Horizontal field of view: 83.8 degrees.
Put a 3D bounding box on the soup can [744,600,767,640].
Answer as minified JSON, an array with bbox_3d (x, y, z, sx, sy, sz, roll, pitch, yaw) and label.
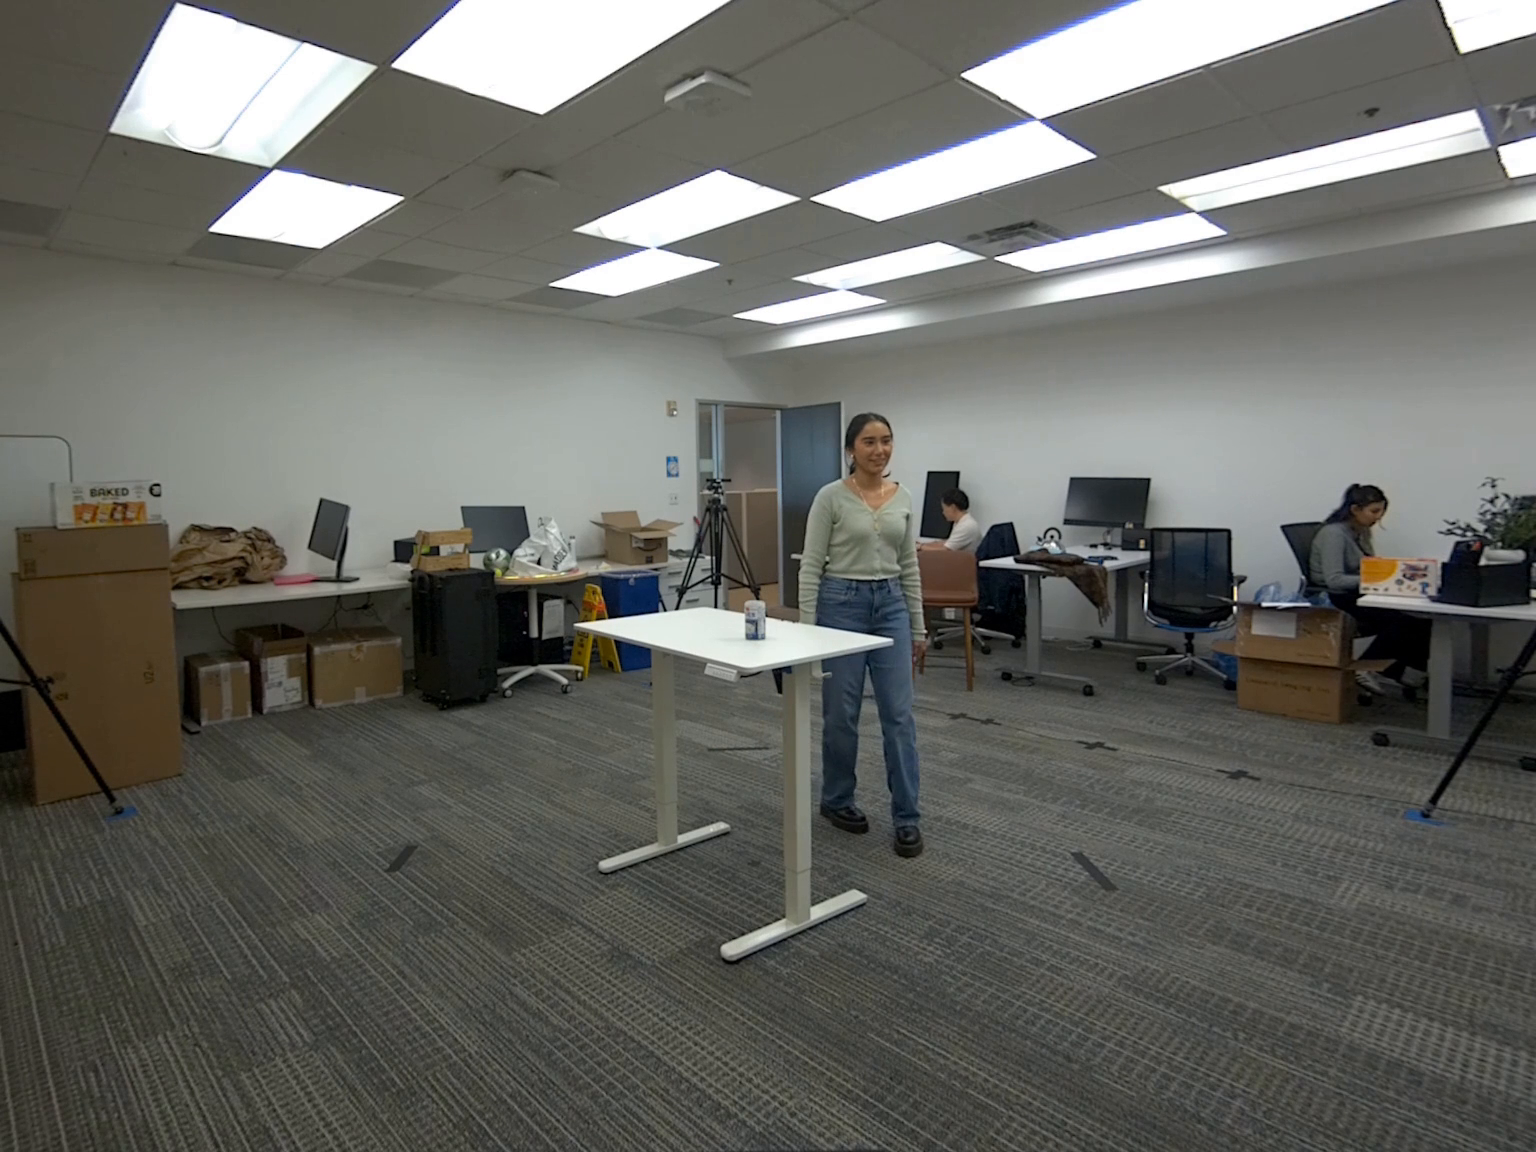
[{"bbox_3d":[-0.032,0.146,2.728,0.067,0.121,0.067,0,7,-2],"label":"soup can"}]
